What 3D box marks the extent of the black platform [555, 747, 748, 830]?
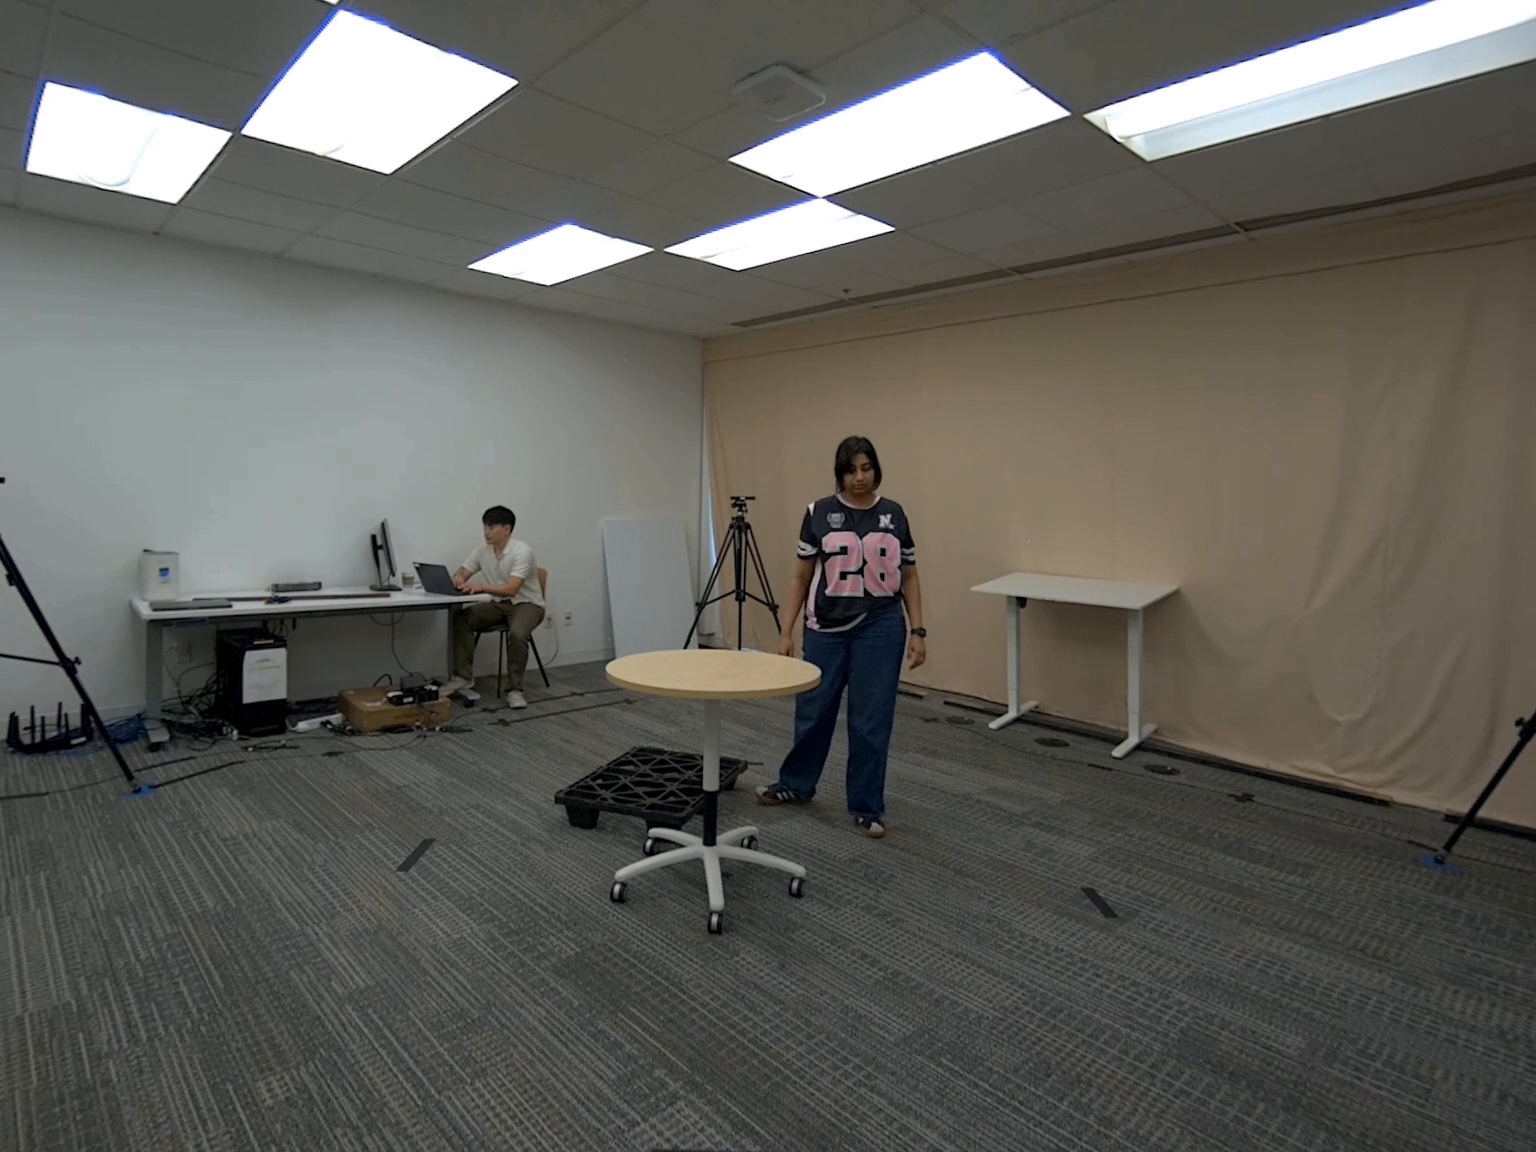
[{"bbox_3d":[-0.497,0.967,3.791,0.614,0.143,0.796,3,5,18],"label":"black platform"}]
